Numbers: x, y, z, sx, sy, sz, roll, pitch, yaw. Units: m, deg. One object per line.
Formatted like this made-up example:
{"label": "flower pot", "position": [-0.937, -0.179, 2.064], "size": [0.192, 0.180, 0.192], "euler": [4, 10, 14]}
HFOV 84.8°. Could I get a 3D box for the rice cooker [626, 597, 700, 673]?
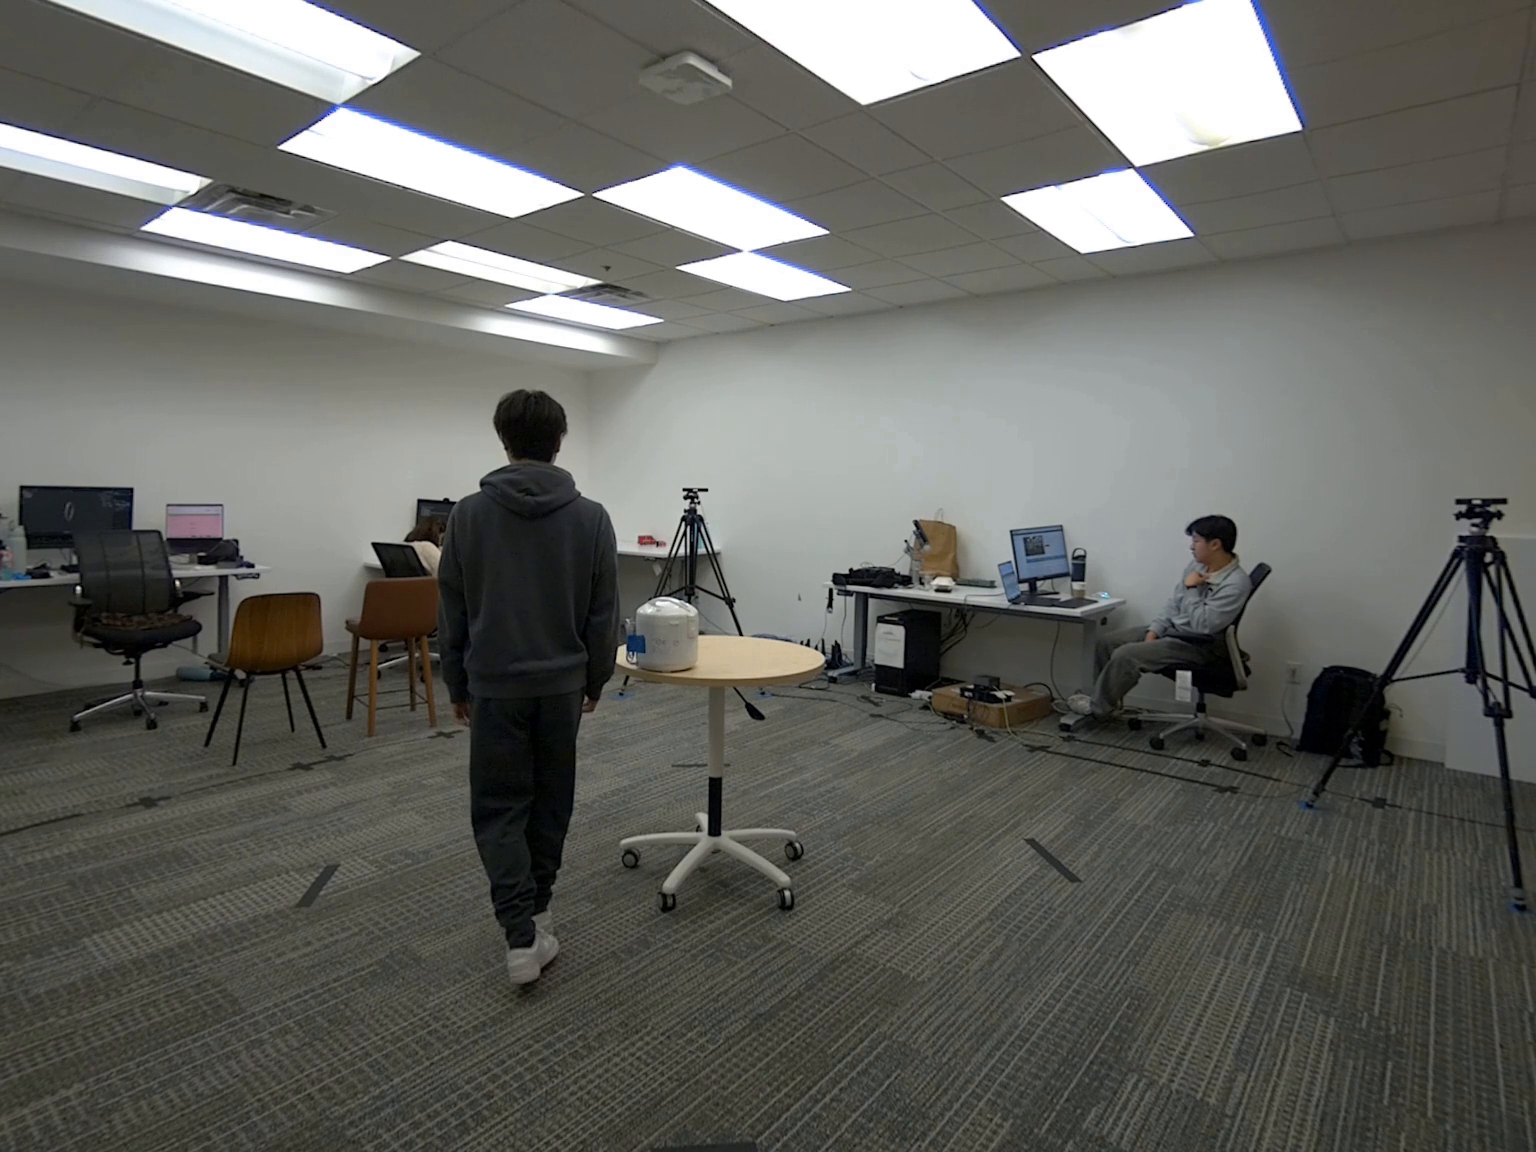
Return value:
{"label": "rice cooker", "position": [-0.343, 0.184, 2.823], "size": [0.228, 0.231, 0.212], "euler": [4, 7, 34]}
